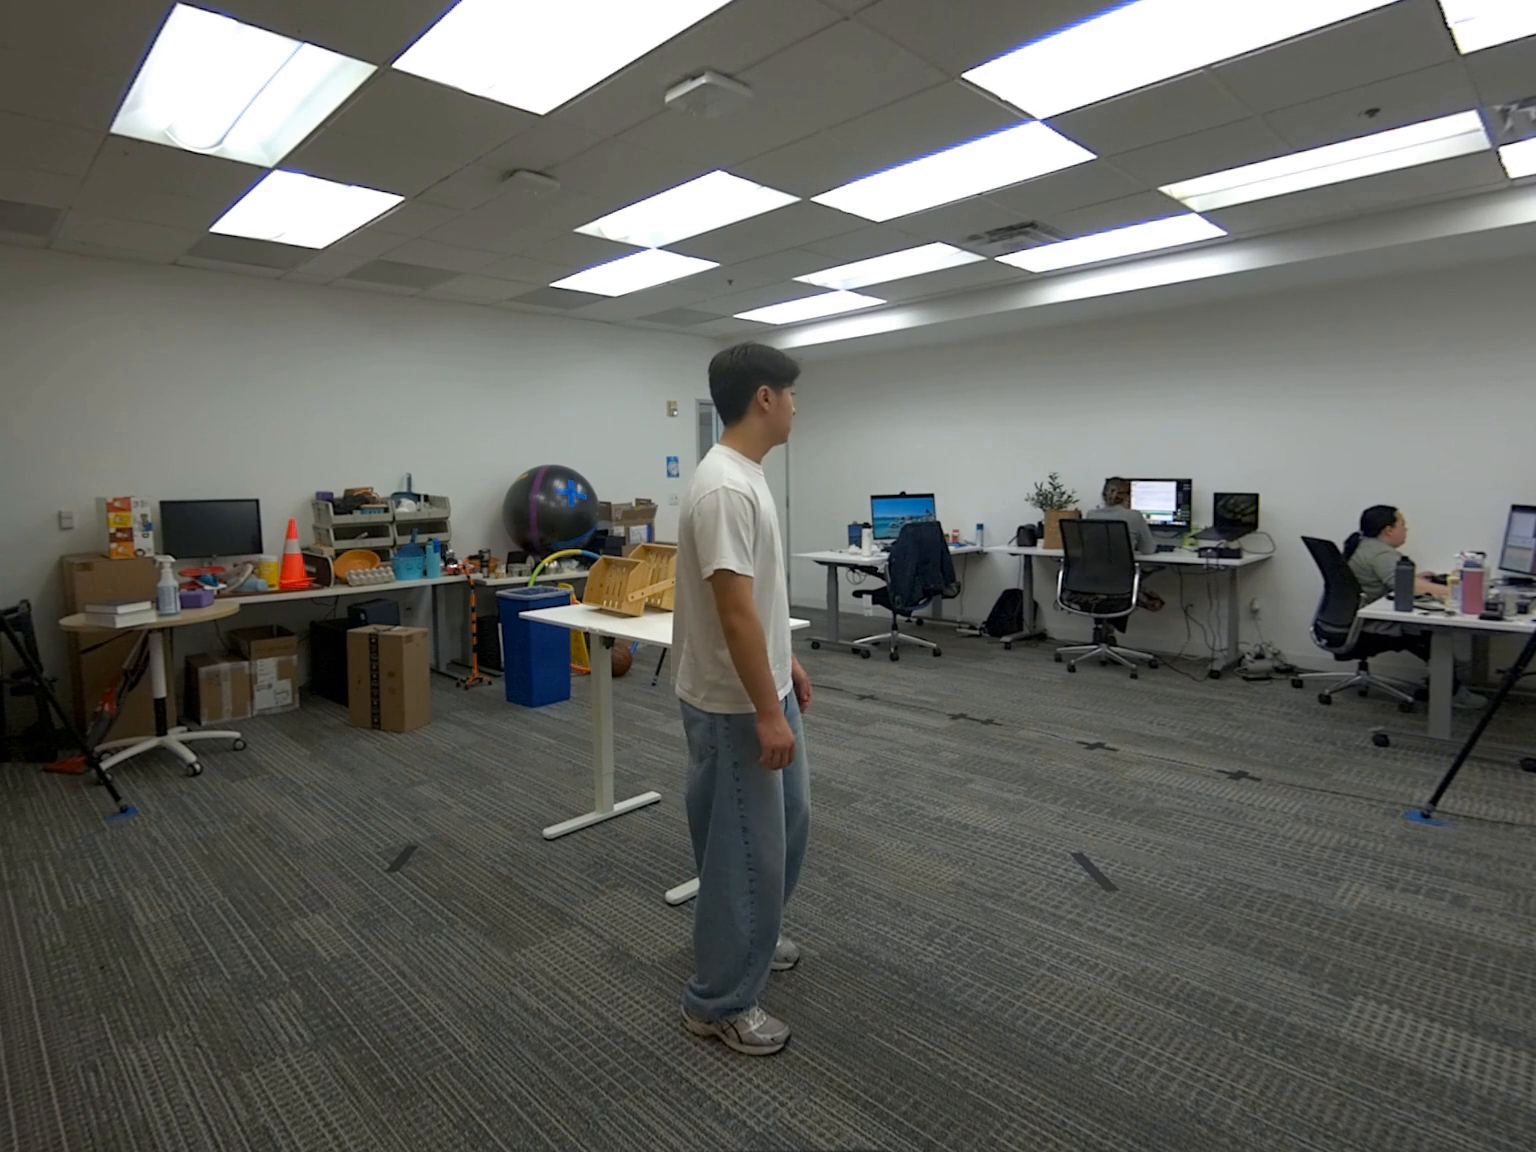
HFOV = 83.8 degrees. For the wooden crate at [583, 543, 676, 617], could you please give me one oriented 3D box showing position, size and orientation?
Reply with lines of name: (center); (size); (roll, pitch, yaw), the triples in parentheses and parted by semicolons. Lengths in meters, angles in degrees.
wooden crate: (-0.523, 0.005, 3.394); (0.264, 0.303, 0.334); (16, -7, -40)
